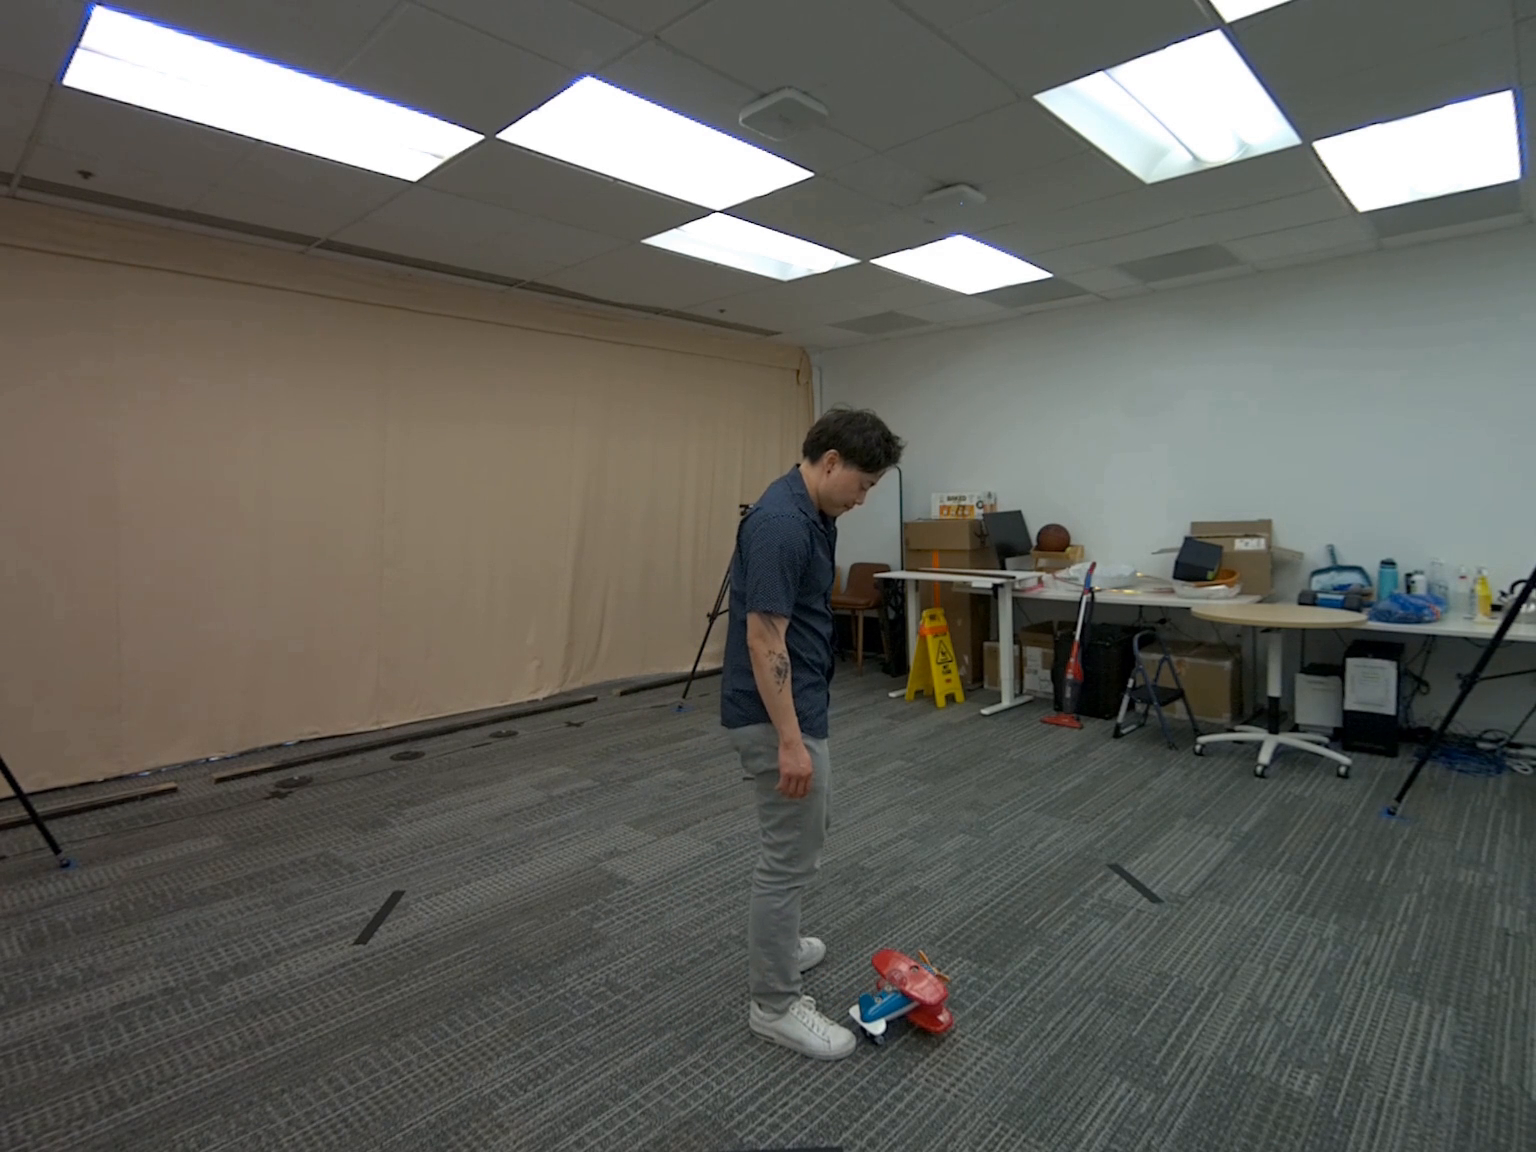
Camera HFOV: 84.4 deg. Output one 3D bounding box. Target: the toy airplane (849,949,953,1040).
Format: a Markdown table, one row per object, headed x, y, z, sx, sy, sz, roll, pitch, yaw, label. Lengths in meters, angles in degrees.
| x | y | z | sx | sy | sz | roll | pitch | yaw | label |
| --- | --- | --- | --- | --- | --- | --- | --- | --- | --- |
| 0.374 | 1.132 | 2.200 | 0.259 | 0.156 | 0.252 | 4 | 5 | 32 | toy airplane |
